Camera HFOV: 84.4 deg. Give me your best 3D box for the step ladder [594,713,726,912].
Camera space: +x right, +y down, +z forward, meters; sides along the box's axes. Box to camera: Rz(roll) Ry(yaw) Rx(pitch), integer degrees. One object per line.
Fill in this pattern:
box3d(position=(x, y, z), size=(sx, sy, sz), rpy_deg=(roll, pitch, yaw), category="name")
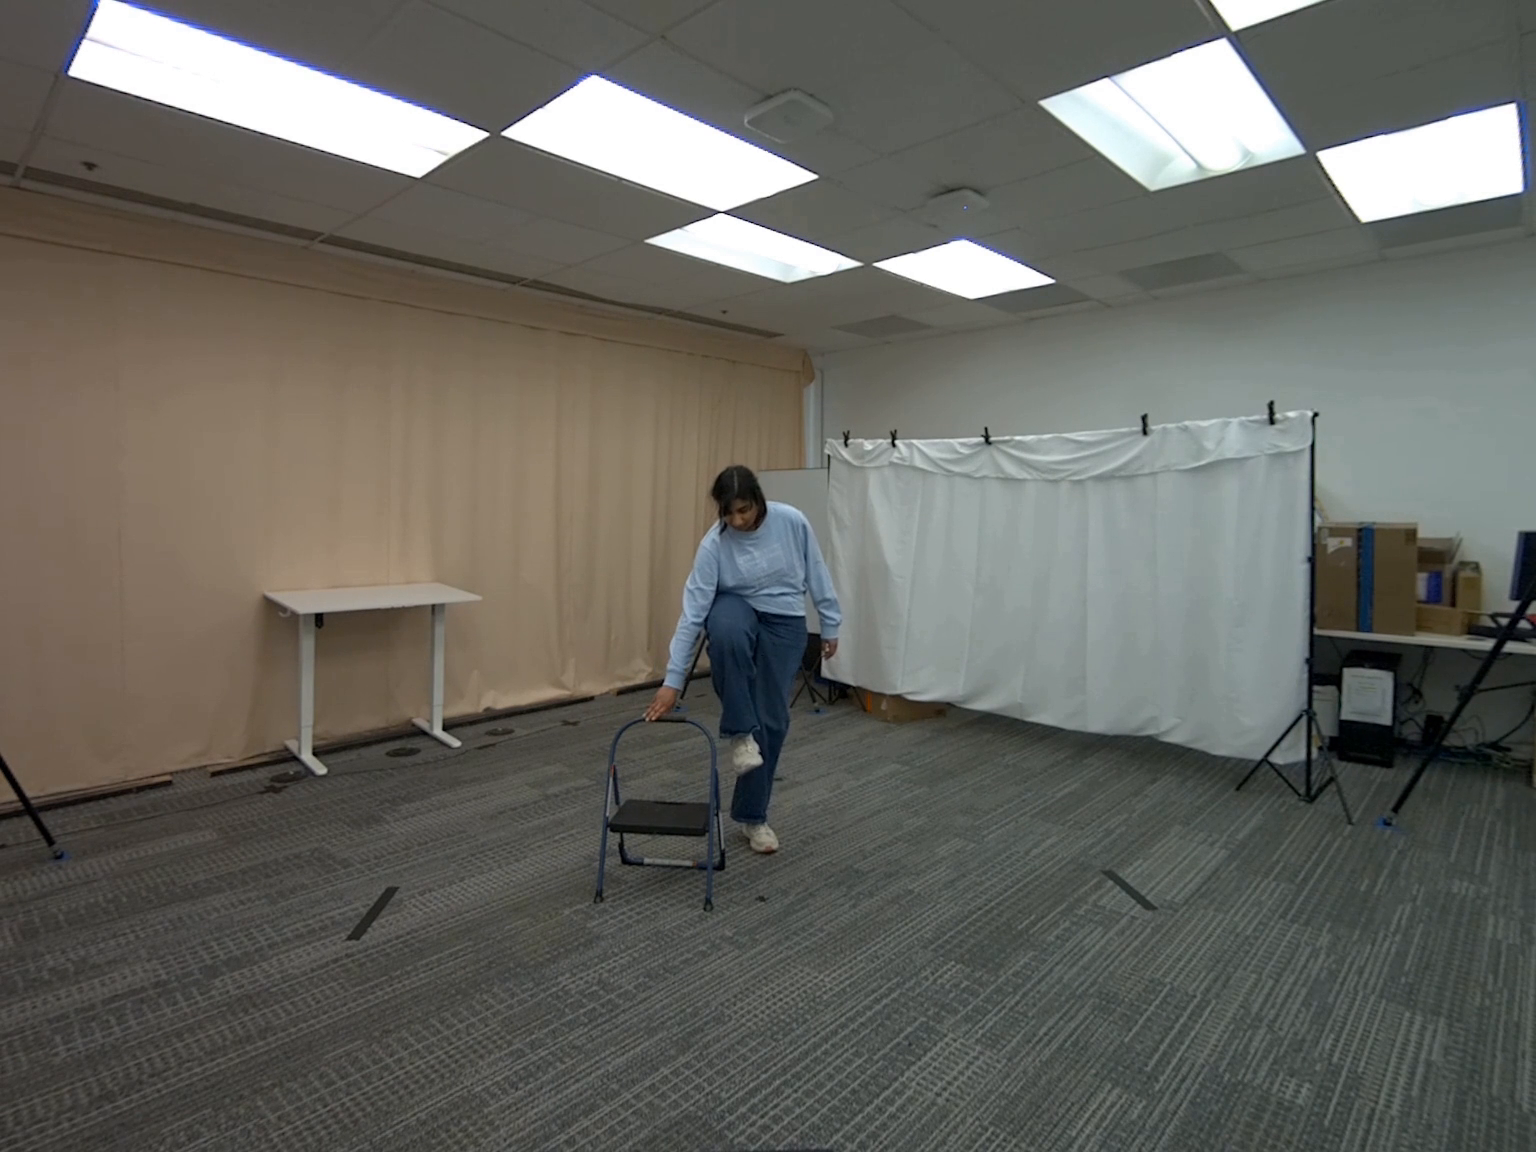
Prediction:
box3d(position=(-0.389, 0.836, 3.090), size=(0.435, 0.605, 0.346), rpy_deg=(0, 3, 9), category="step ladder")
